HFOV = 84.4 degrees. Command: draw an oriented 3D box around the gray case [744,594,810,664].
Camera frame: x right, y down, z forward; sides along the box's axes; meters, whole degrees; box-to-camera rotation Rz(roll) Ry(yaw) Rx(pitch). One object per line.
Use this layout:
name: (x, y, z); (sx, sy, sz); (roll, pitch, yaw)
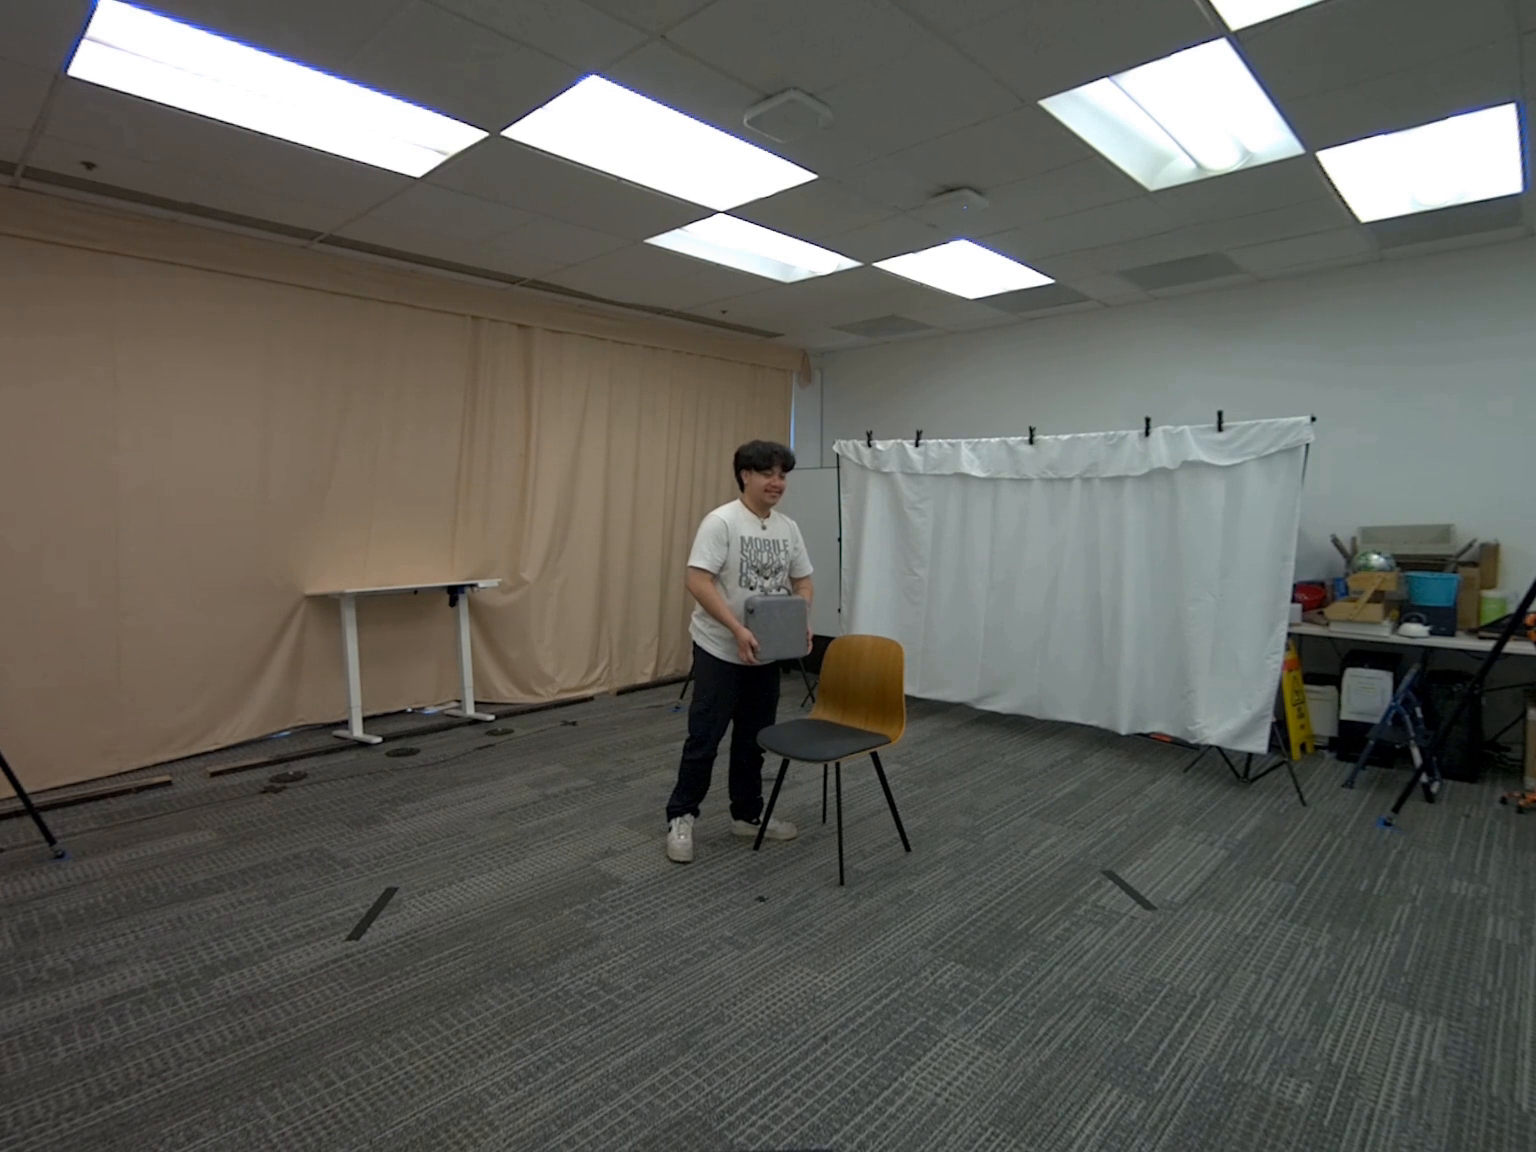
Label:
gray case: (0.025, 0.195, 3.315); (0.250, 0.260, 0.107); (-4, 5, -29)
